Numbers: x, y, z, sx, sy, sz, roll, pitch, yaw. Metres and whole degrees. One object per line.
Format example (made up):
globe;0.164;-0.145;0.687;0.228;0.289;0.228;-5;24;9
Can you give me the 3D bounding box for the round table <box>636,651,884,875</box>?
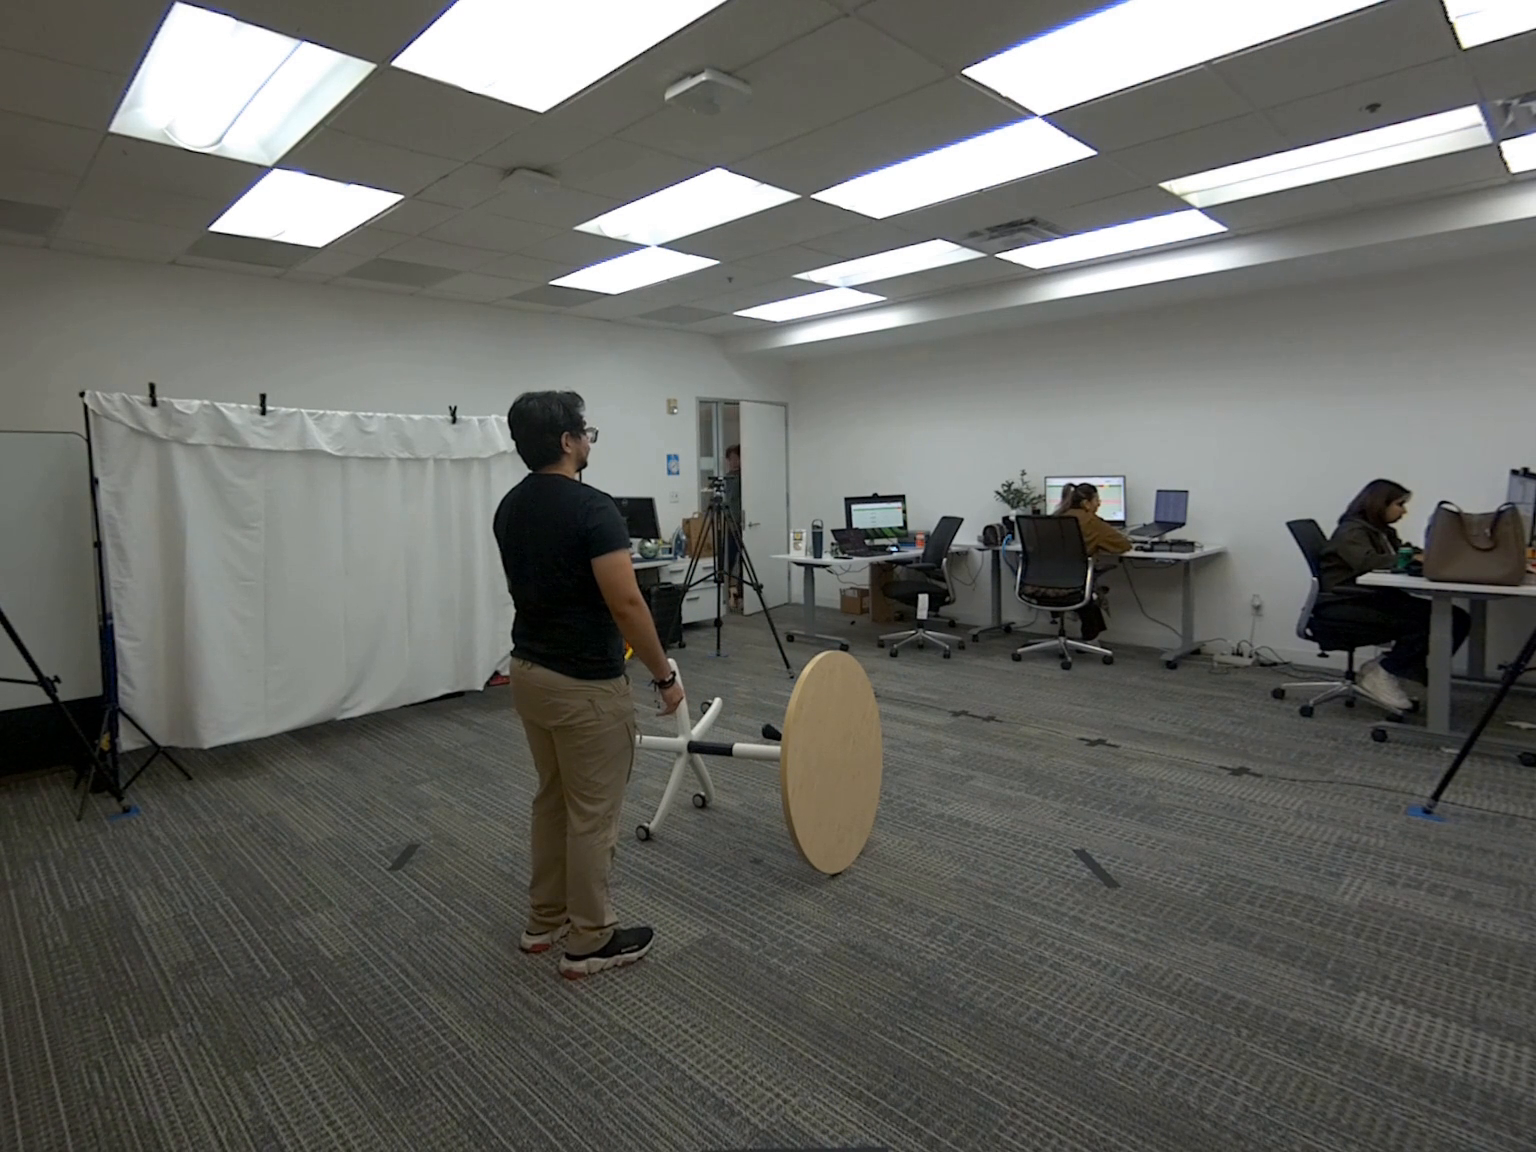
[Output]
round table;-0.083;0.660;3.272;0.806;0.784;0.767;-3;3;32
